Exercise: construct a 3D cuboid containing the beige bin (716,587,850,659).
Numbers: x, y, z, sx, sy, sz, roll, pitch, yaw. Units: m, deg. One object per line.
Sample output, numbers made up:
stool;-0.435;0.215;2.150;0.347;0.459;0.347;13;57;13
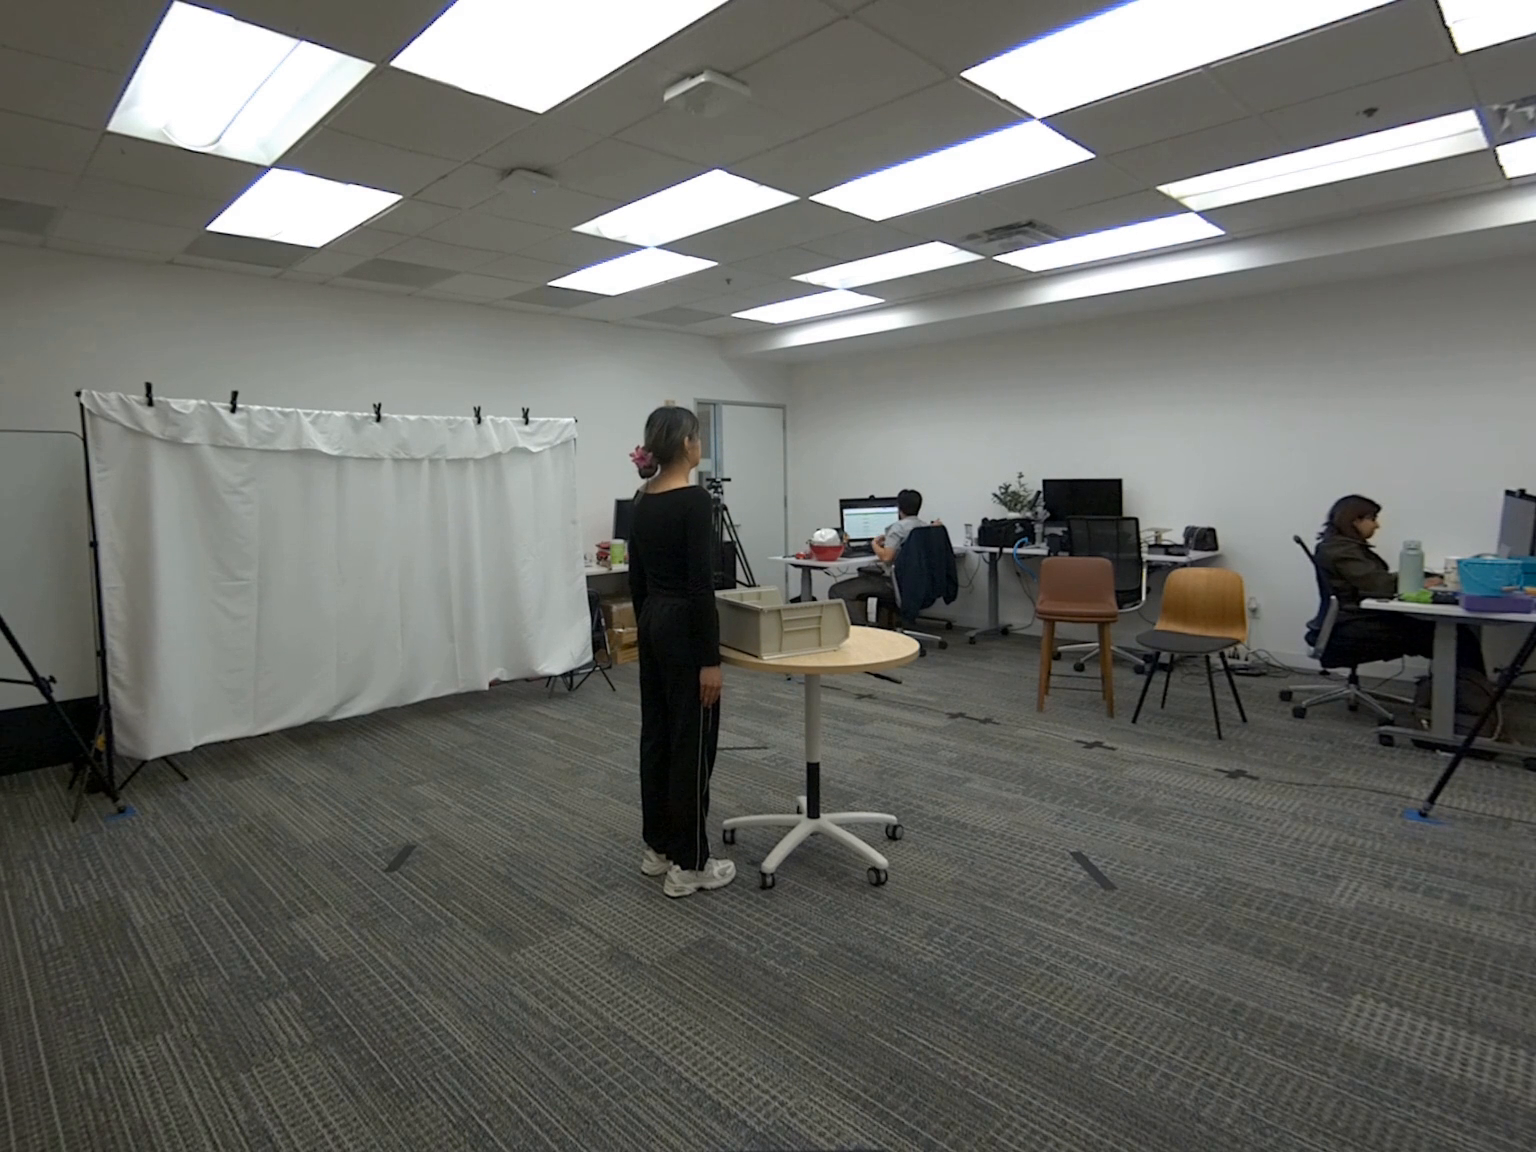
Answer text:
beige bin;0.024;0.157;3.085;0.368;0.188;0.435;-6;8;-32
